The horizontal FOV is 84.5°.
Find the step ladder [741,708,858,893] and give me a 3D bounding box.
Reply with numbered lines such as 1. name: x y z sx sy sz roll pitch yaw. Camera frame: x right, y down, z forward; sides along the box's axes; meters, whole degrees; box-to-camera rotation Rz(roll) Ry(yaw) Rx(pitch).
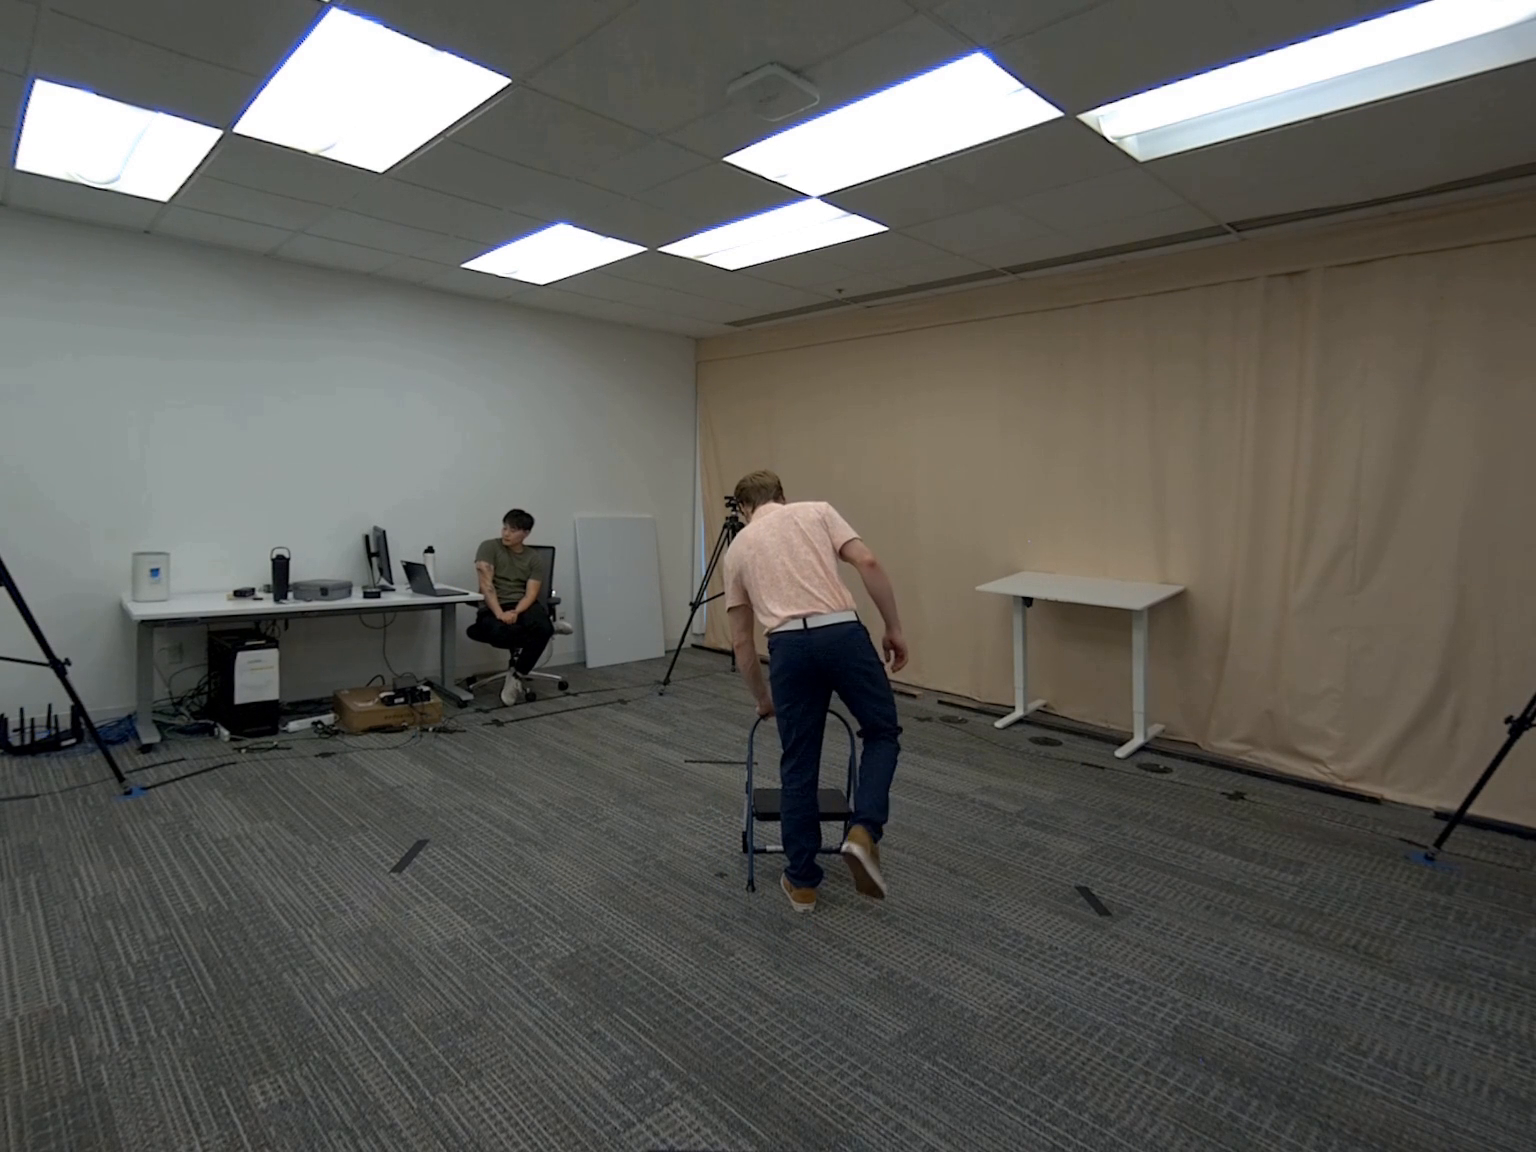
1. step ladder: 0.123 0.805 3.147 0.429 0.604 0.351 2 4 -5
